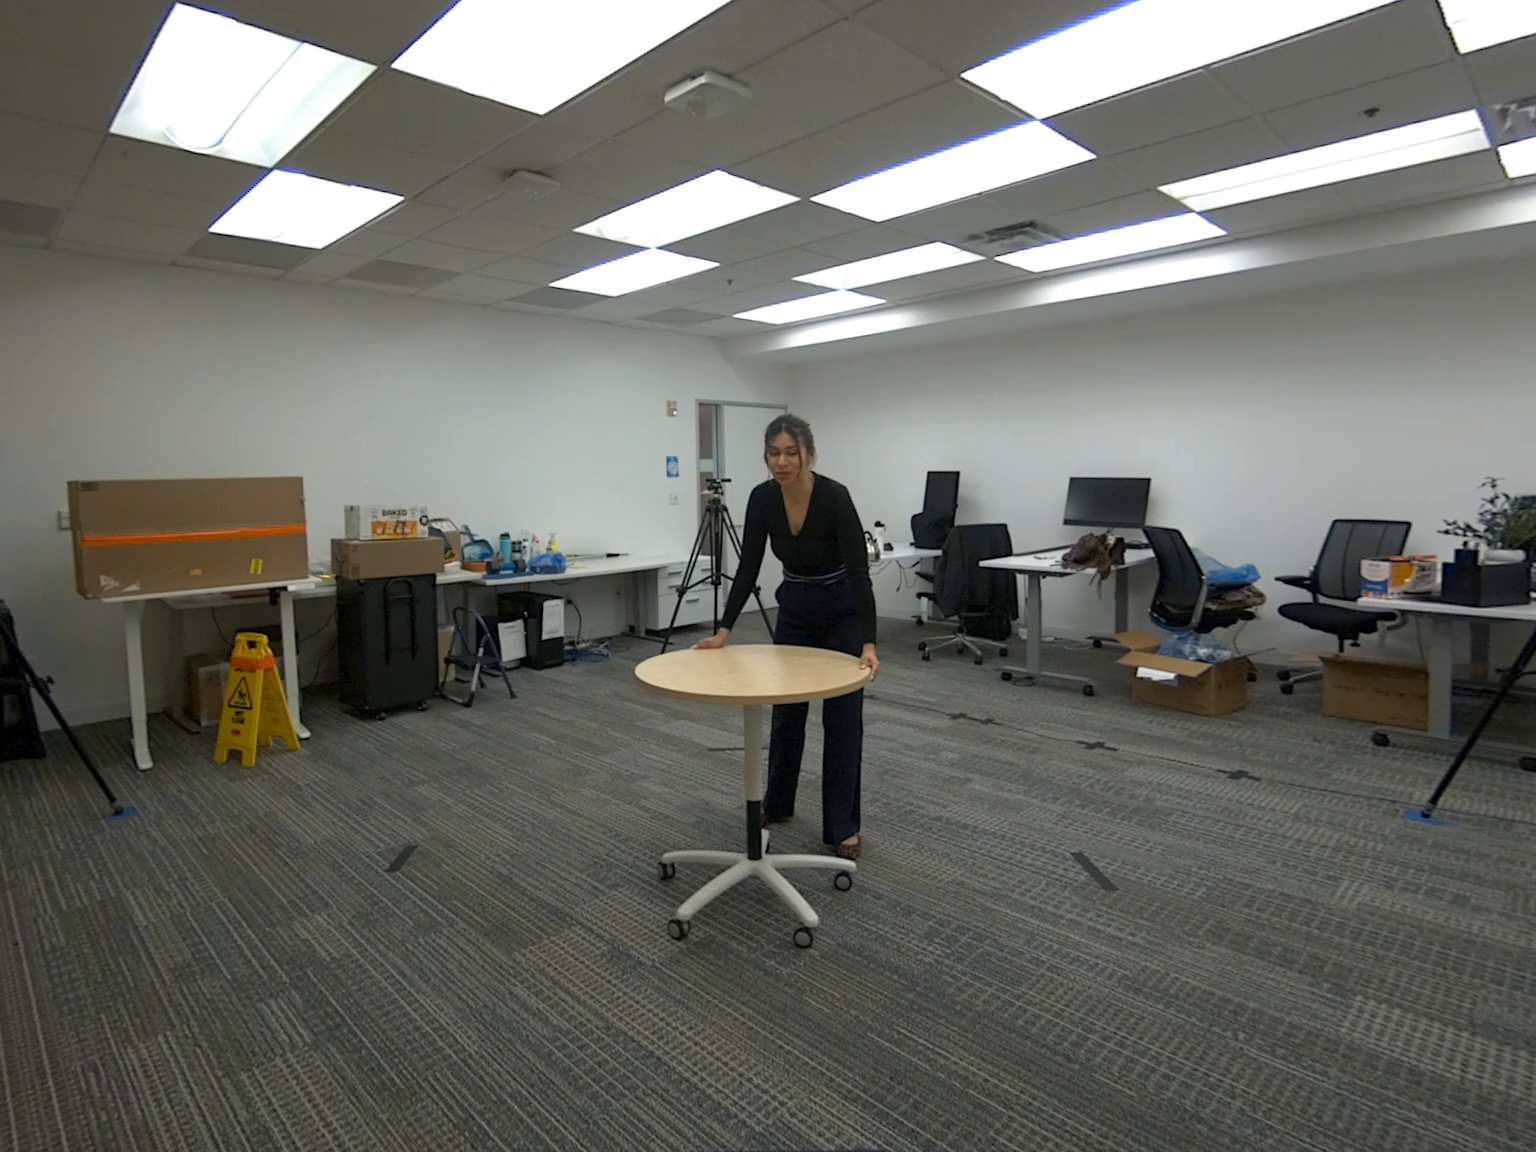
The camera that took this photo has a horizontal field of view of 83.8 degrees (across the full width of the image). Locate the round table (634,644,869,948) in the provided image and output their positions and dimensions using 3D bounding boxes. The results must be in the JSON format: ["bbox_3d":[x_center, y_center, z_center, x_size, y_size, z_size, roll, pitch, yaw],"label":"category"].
[{"bbox_3d":[-0.046,0.686,2.826,0.763,0.791,0.768,-1,5,-2],"label":"round table"}]
